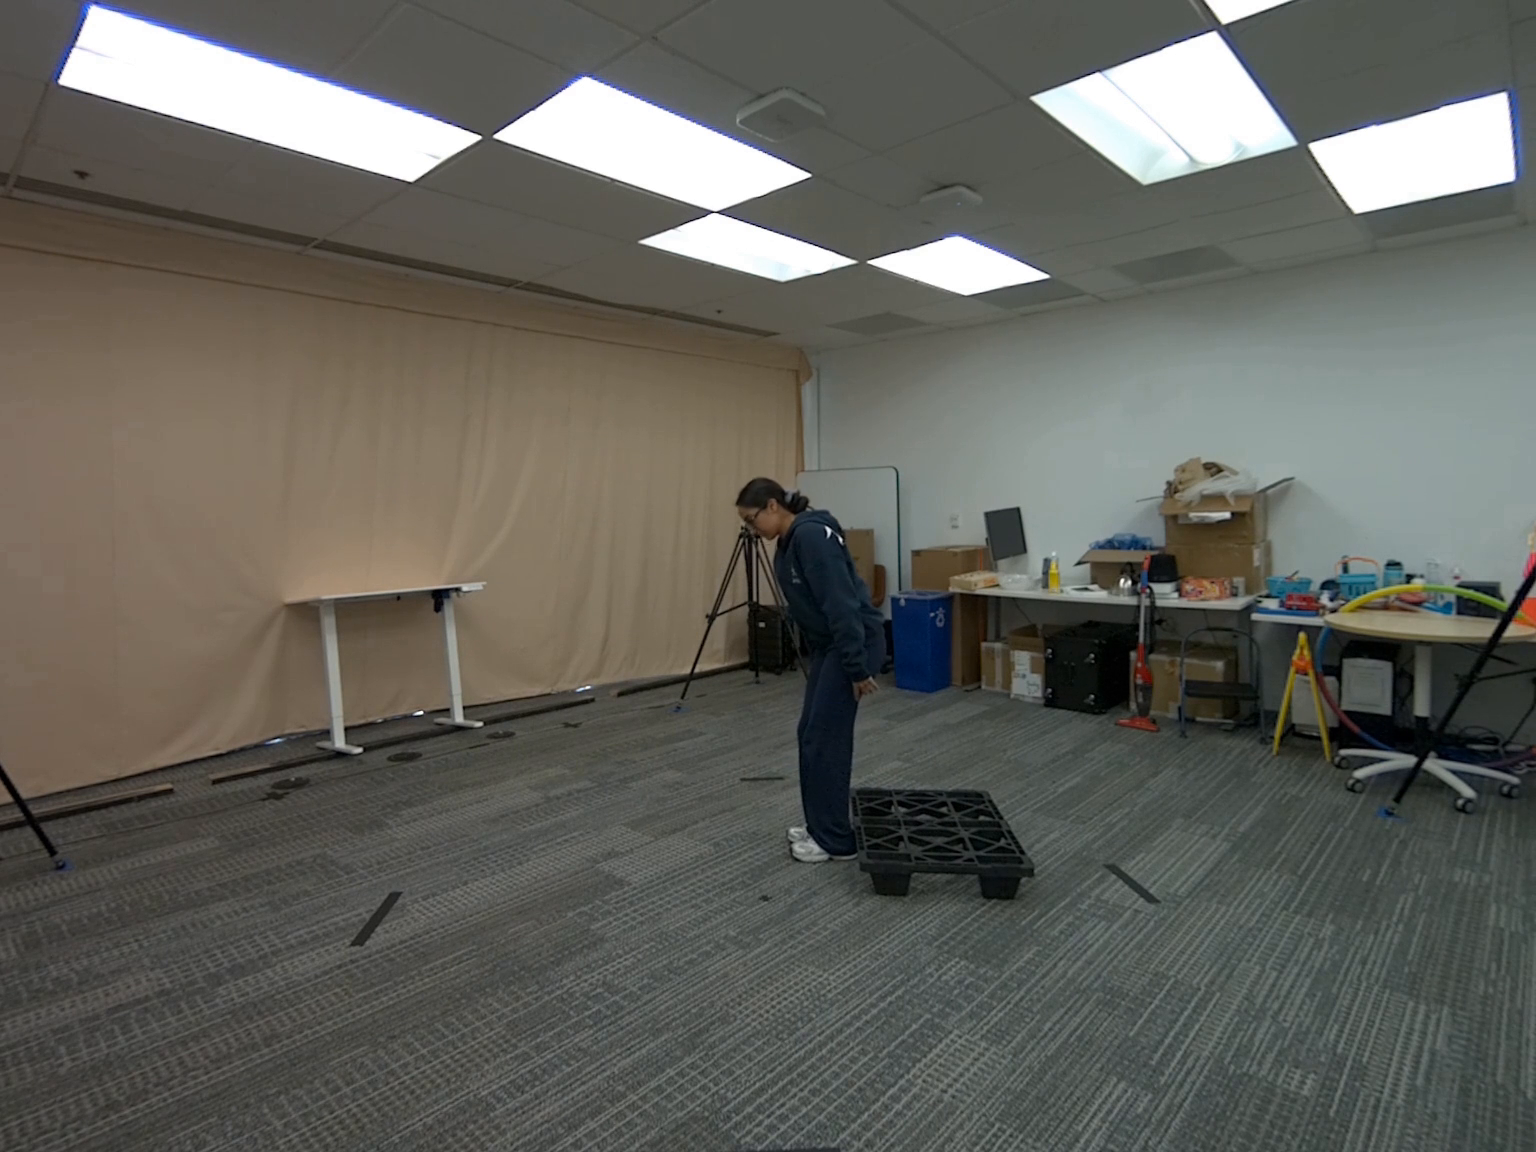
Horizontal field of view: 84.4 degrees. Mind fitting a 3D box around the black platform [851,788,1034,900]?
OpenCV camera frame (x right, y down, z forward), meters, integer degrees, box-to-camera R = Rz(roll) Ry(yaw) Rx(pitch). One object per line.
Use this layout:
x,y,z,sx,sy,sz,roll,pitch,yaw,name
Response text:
0.650,1.035,3.315,0.608,0.143,0.803,0,5,4,black platform
